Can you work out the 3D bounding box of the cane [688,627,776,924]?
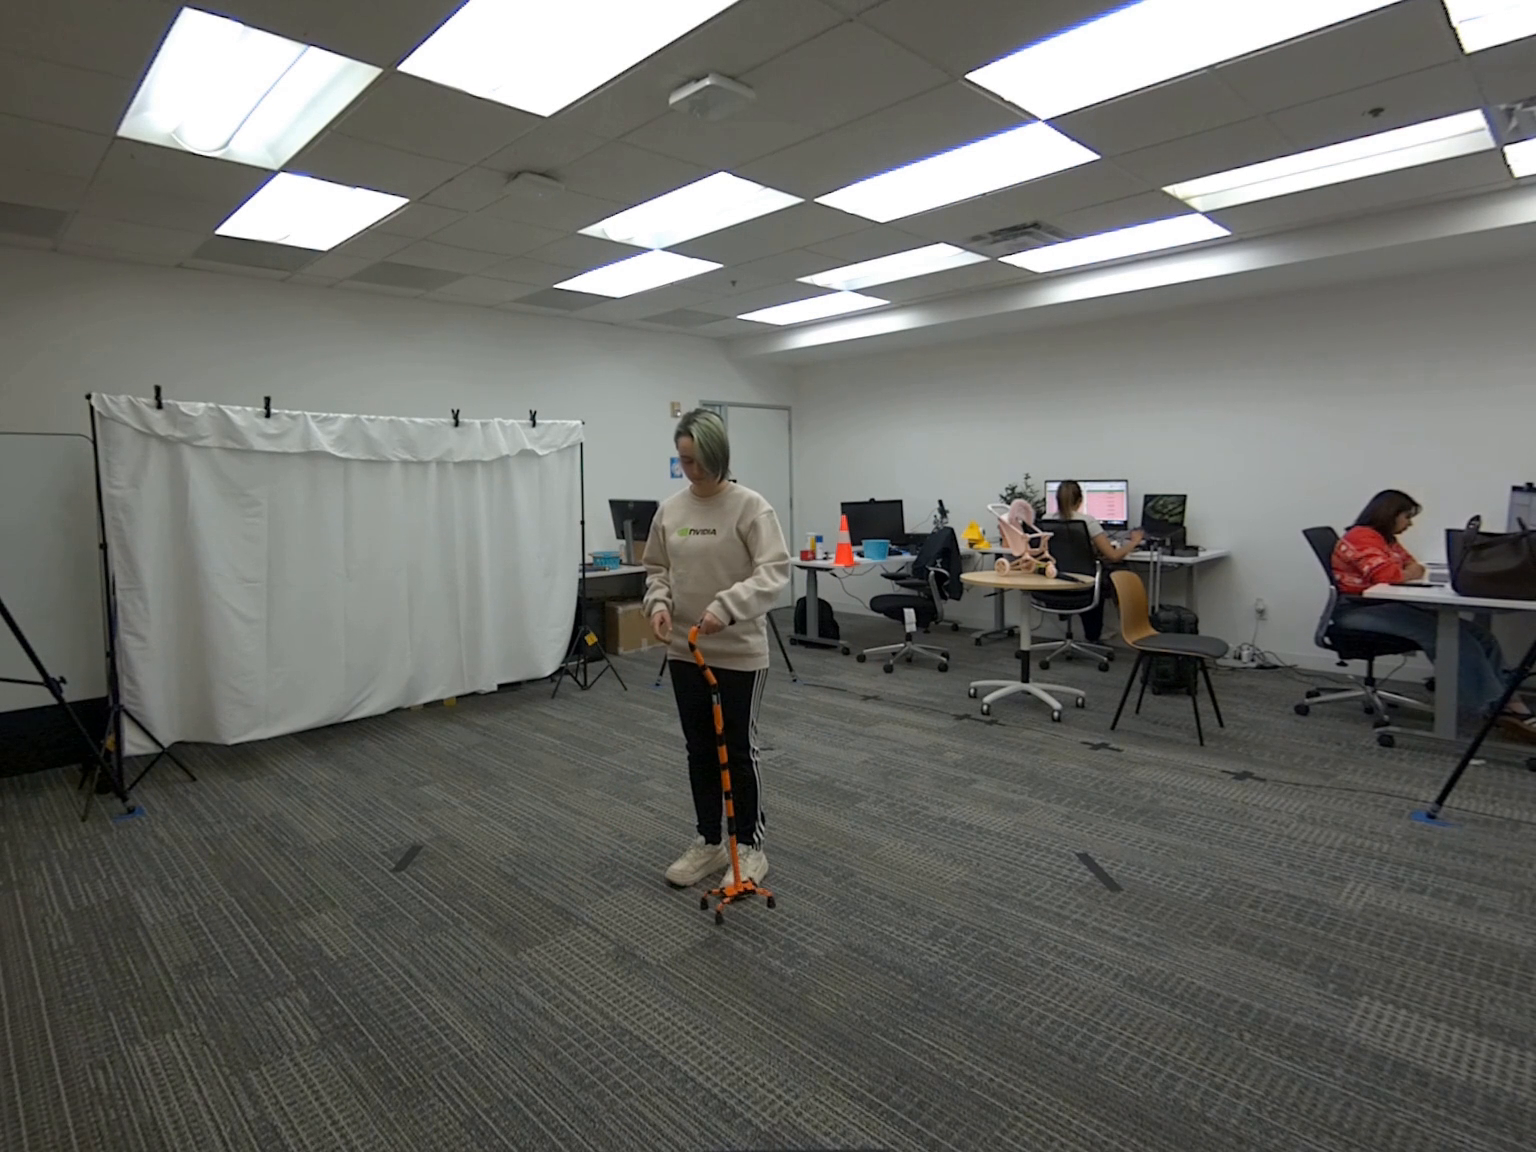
[{"bbox_3d":[-0.155,0.595,2.660,0.202,0.906,0.155,-8,2,-31],"label":"cane"}]
